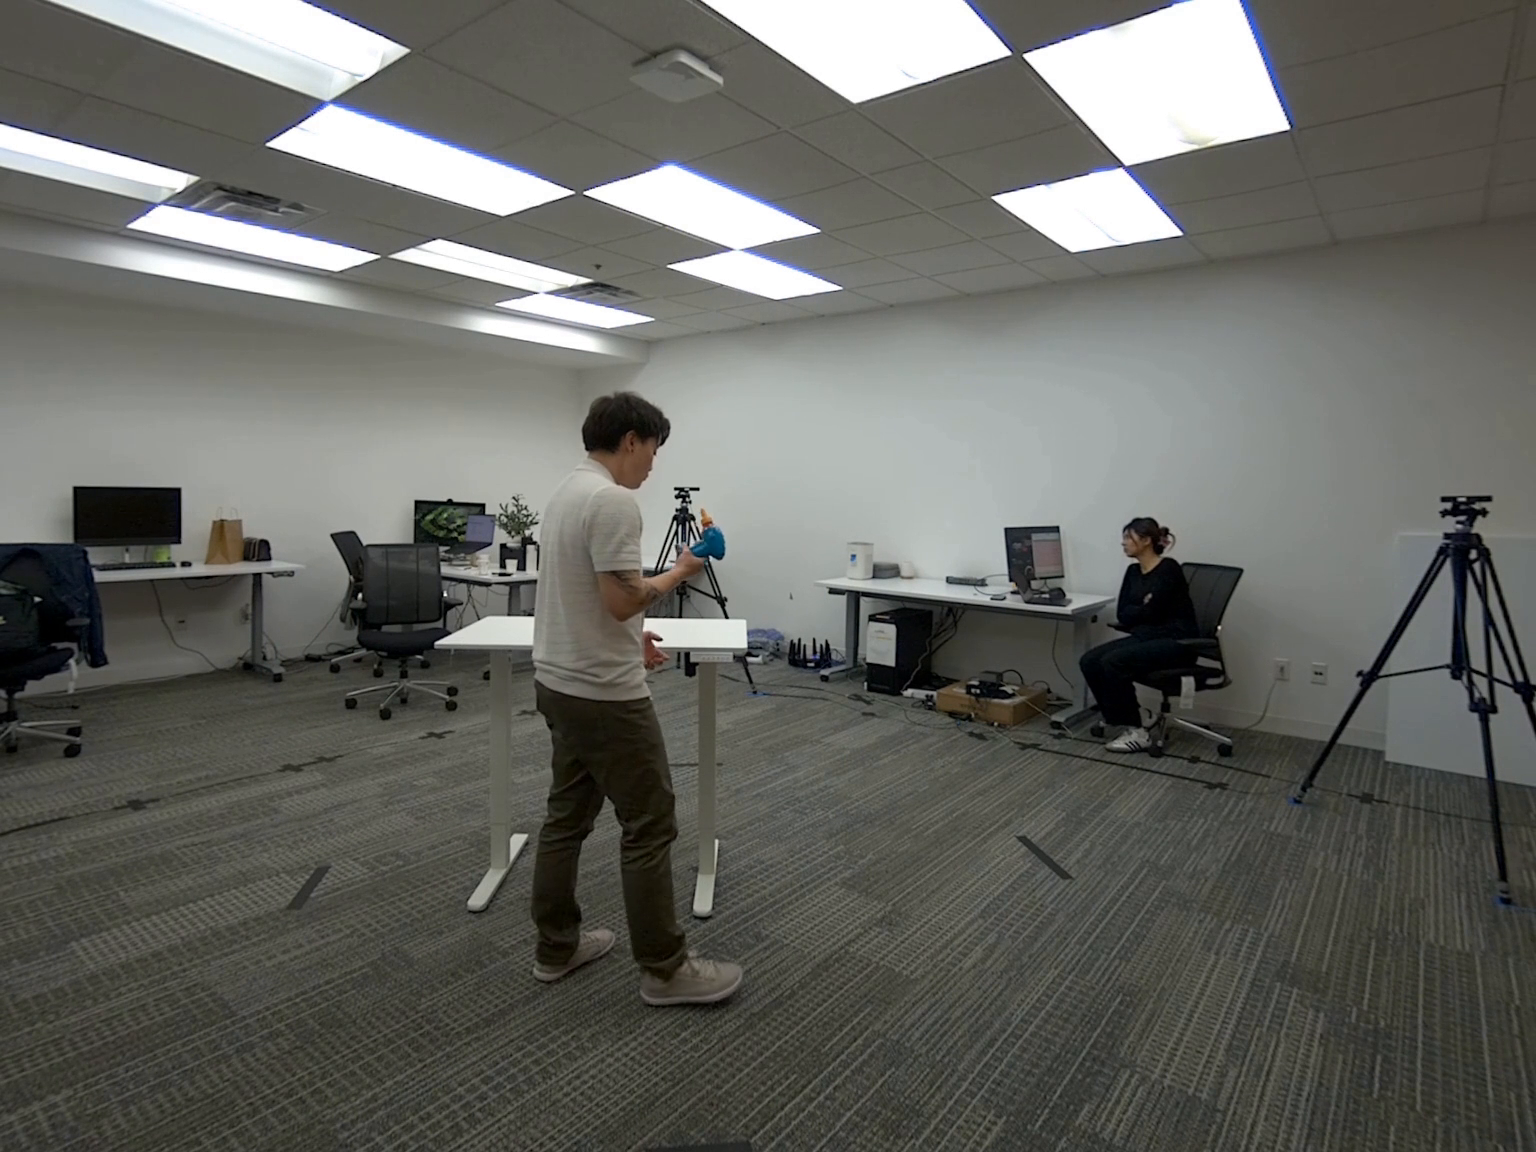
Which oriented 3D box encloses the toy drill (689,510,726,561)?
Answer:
[{"bbox_3d":[-0.210,-0.108,2.452,0.146,0.173,0.060,-18,-16,-3],"label":"toy drill"}]
